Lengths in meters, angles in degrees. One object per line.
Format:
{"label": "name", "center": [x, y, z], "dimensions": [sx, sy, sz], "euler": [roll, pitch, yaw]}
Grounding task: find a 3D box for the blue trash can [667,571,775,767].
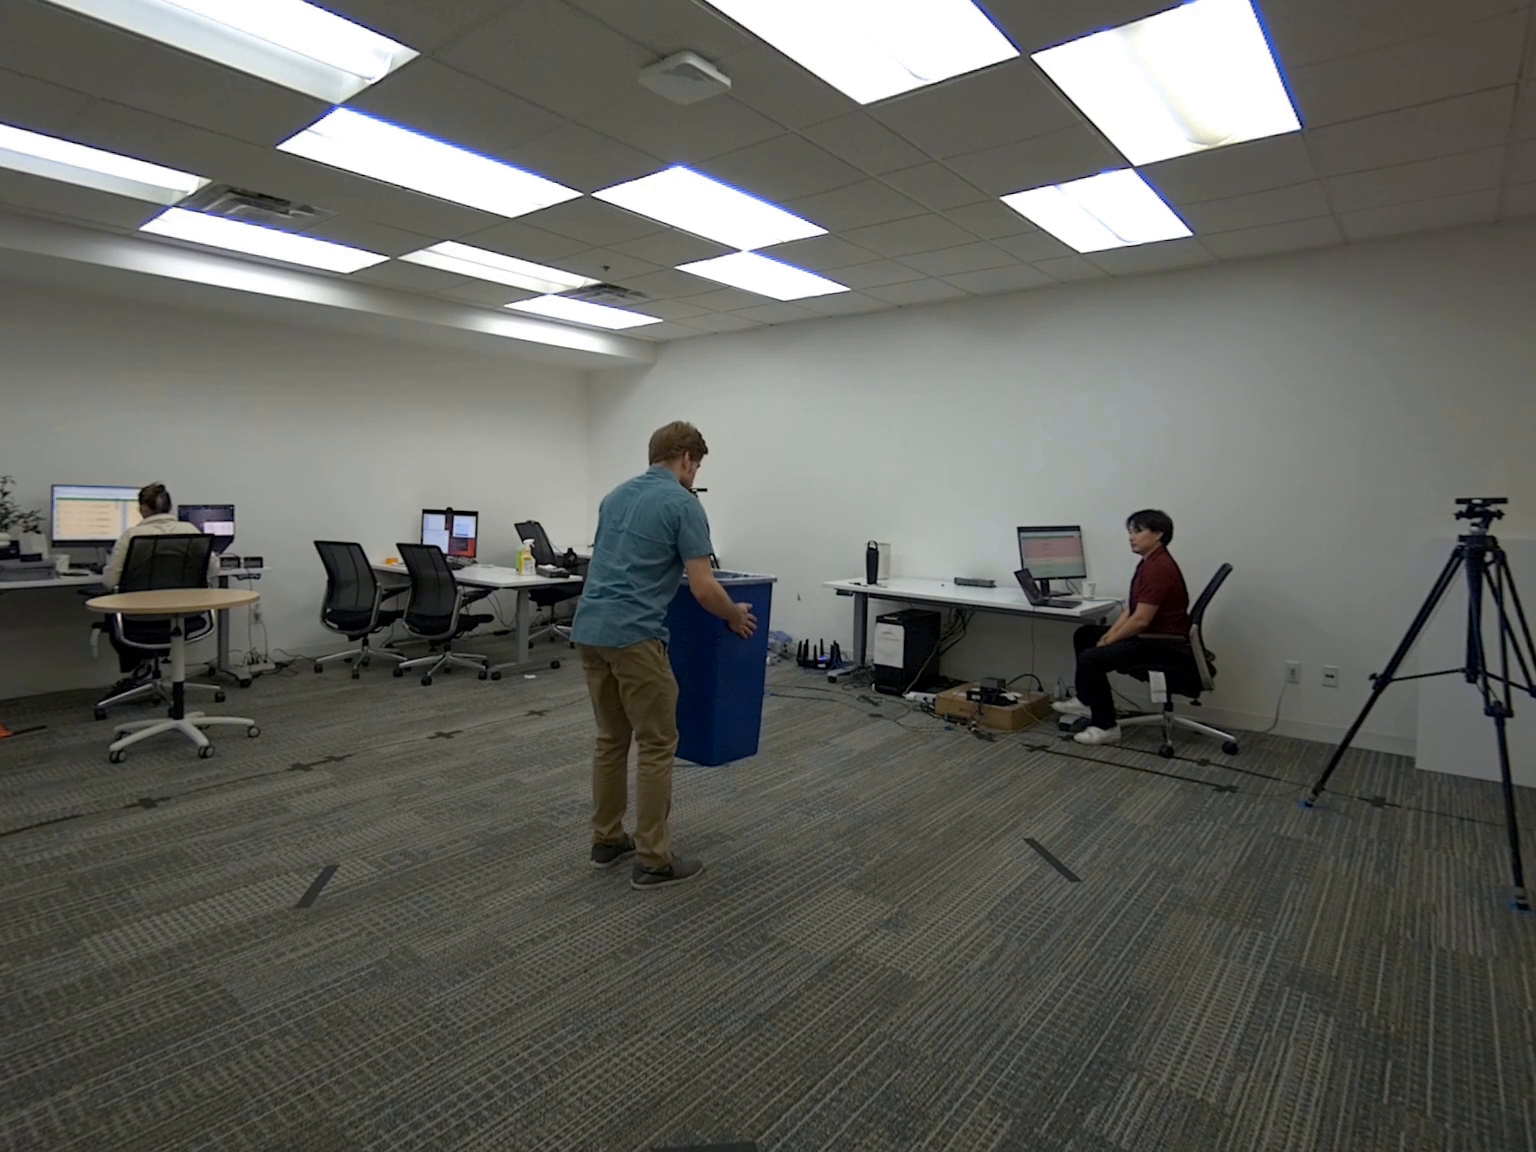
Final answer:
{"label": "blue trash can", "center": [-0.223, 0.359, 3.386], "dimensions": [0.386, 0.713, 0.366], "euler": [4, 1, 38]}
